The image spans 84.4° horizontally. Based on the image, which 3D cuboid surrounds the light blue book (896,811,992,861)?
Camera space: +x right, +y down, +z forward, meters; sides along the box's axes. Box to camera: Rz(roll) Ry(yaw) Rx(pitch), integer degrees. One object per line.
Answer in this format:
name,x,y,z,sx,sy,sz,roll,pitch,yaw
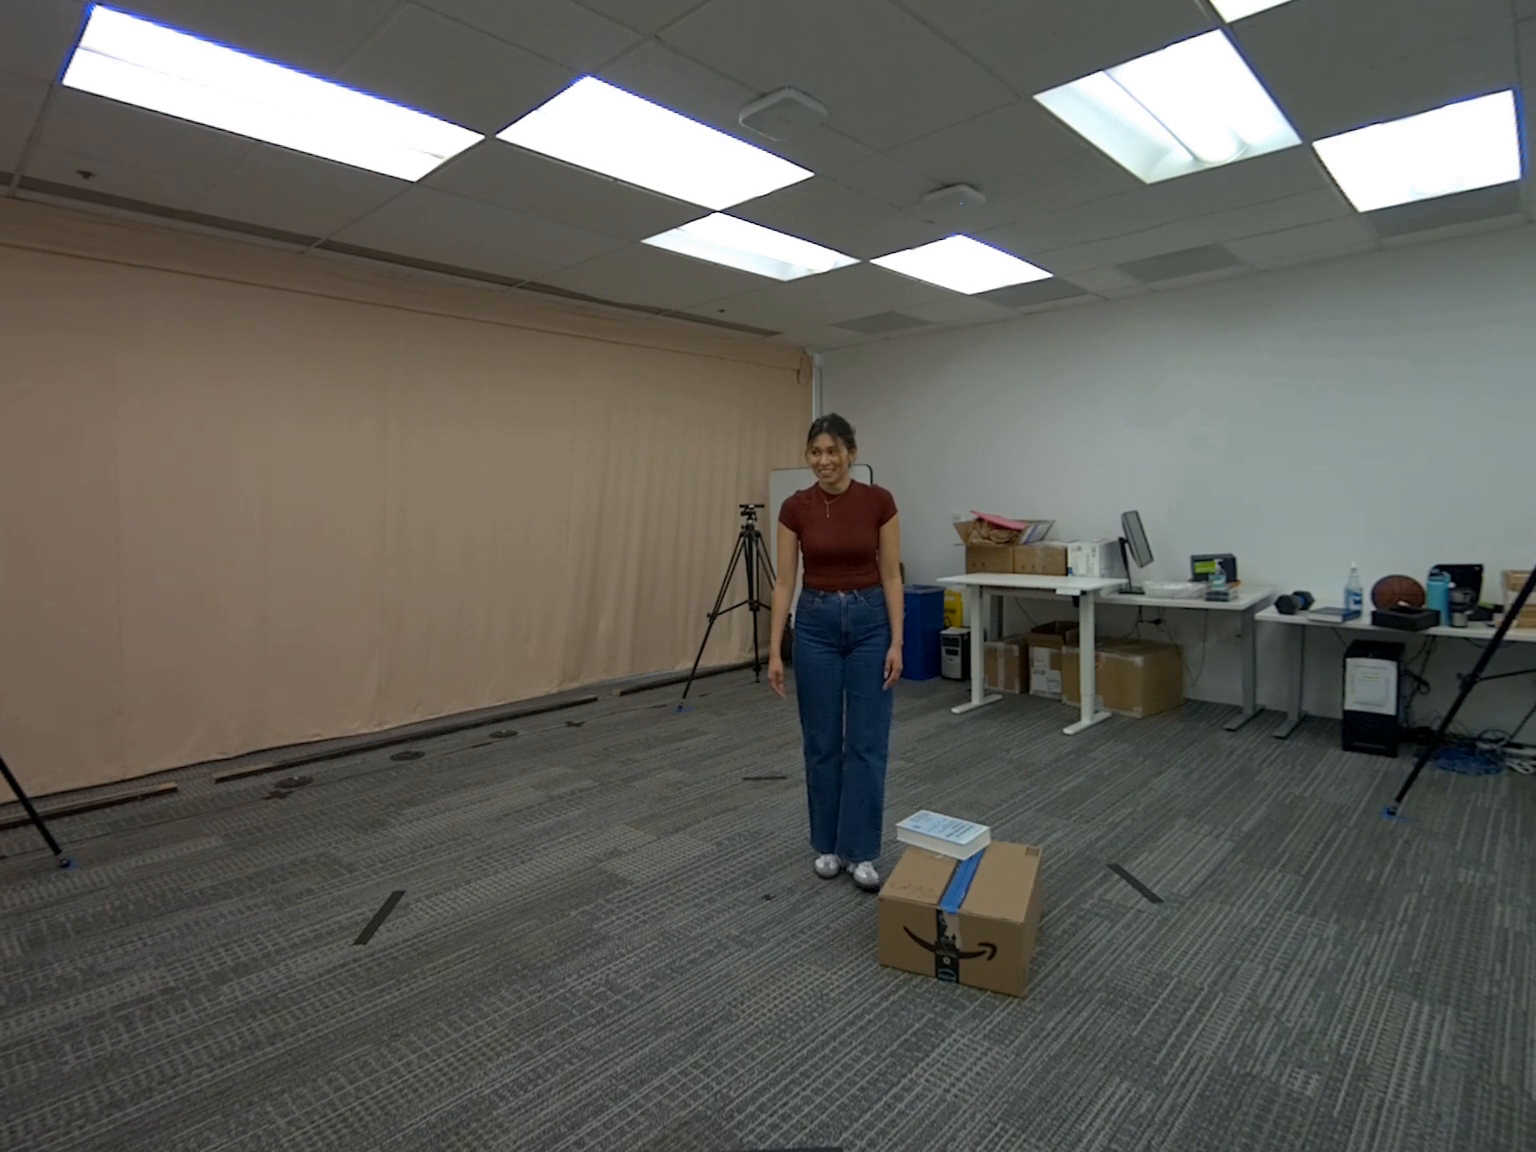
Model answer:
light blue book,0.609,0.889,2.910,0.269,0.059,0.186,3,8,42
